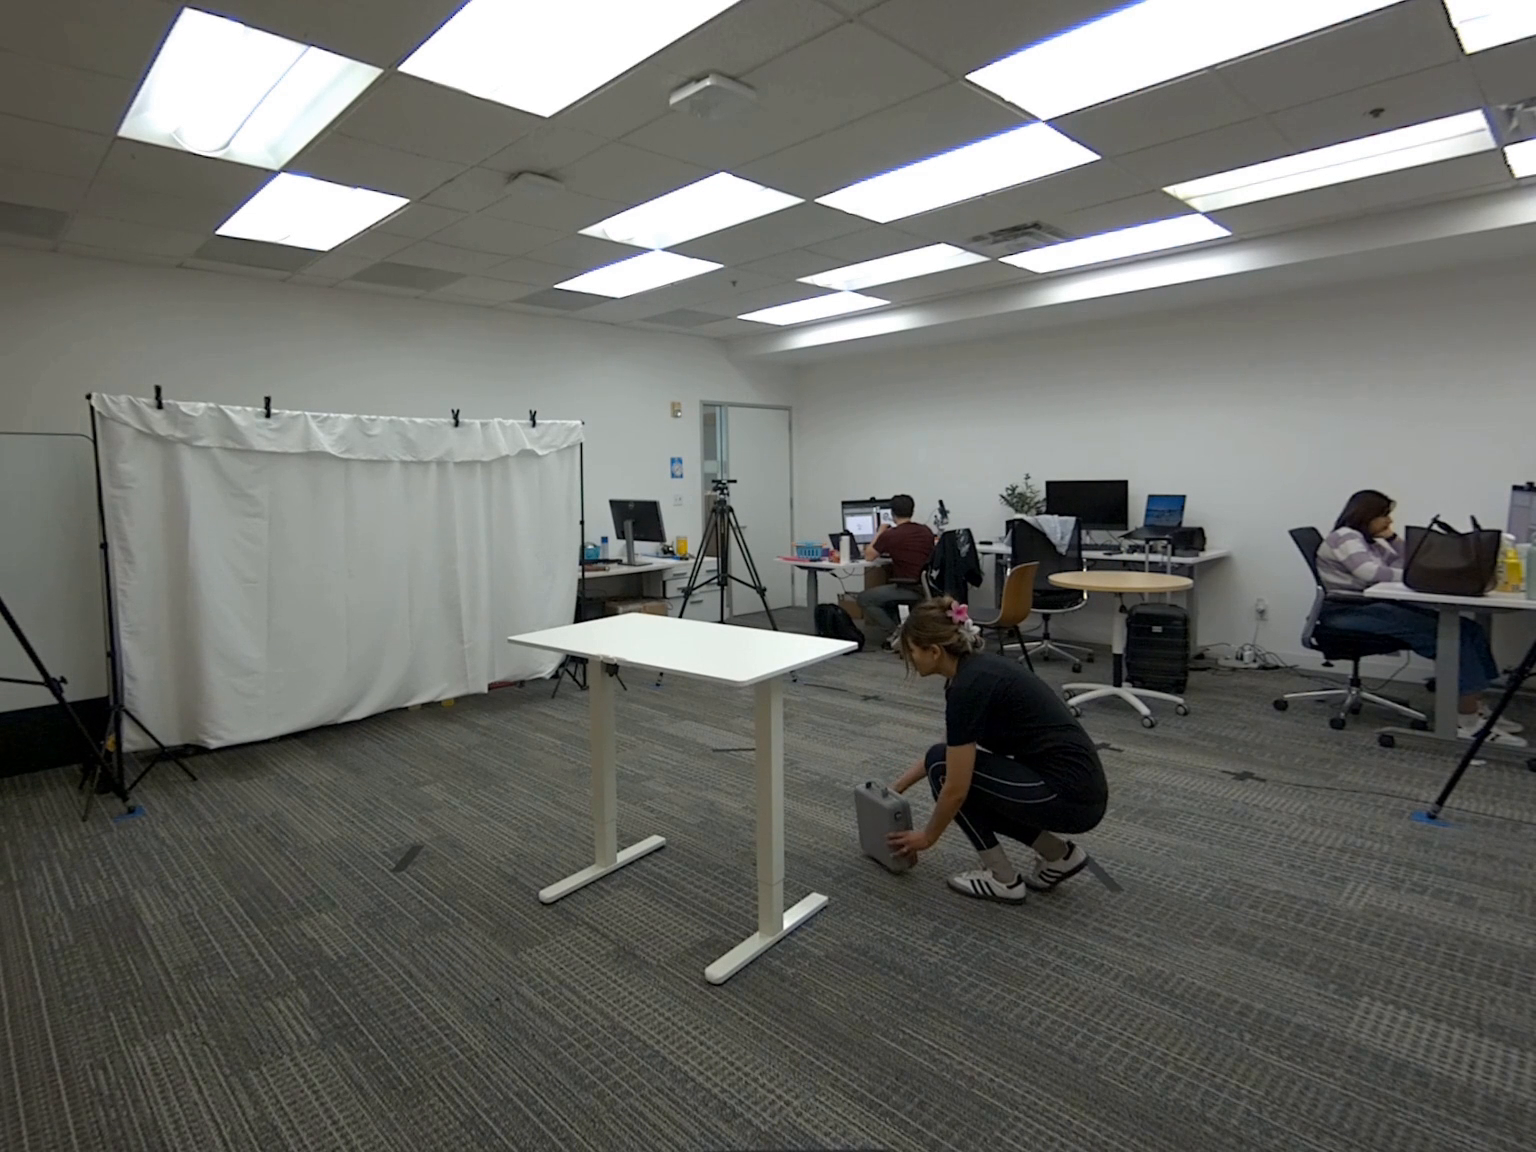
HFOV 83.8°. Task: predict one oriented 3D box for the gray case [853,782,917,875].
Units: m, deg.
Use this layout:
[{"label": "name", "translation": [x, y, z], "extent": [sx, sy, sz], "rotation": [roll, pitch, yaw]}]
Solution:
[{"label": "gray case", "translation": [0.426, 0.881, 3.076], "extent": [0.103, 0.259, 0.262], "rotation": [-12, 5, -22]}]
